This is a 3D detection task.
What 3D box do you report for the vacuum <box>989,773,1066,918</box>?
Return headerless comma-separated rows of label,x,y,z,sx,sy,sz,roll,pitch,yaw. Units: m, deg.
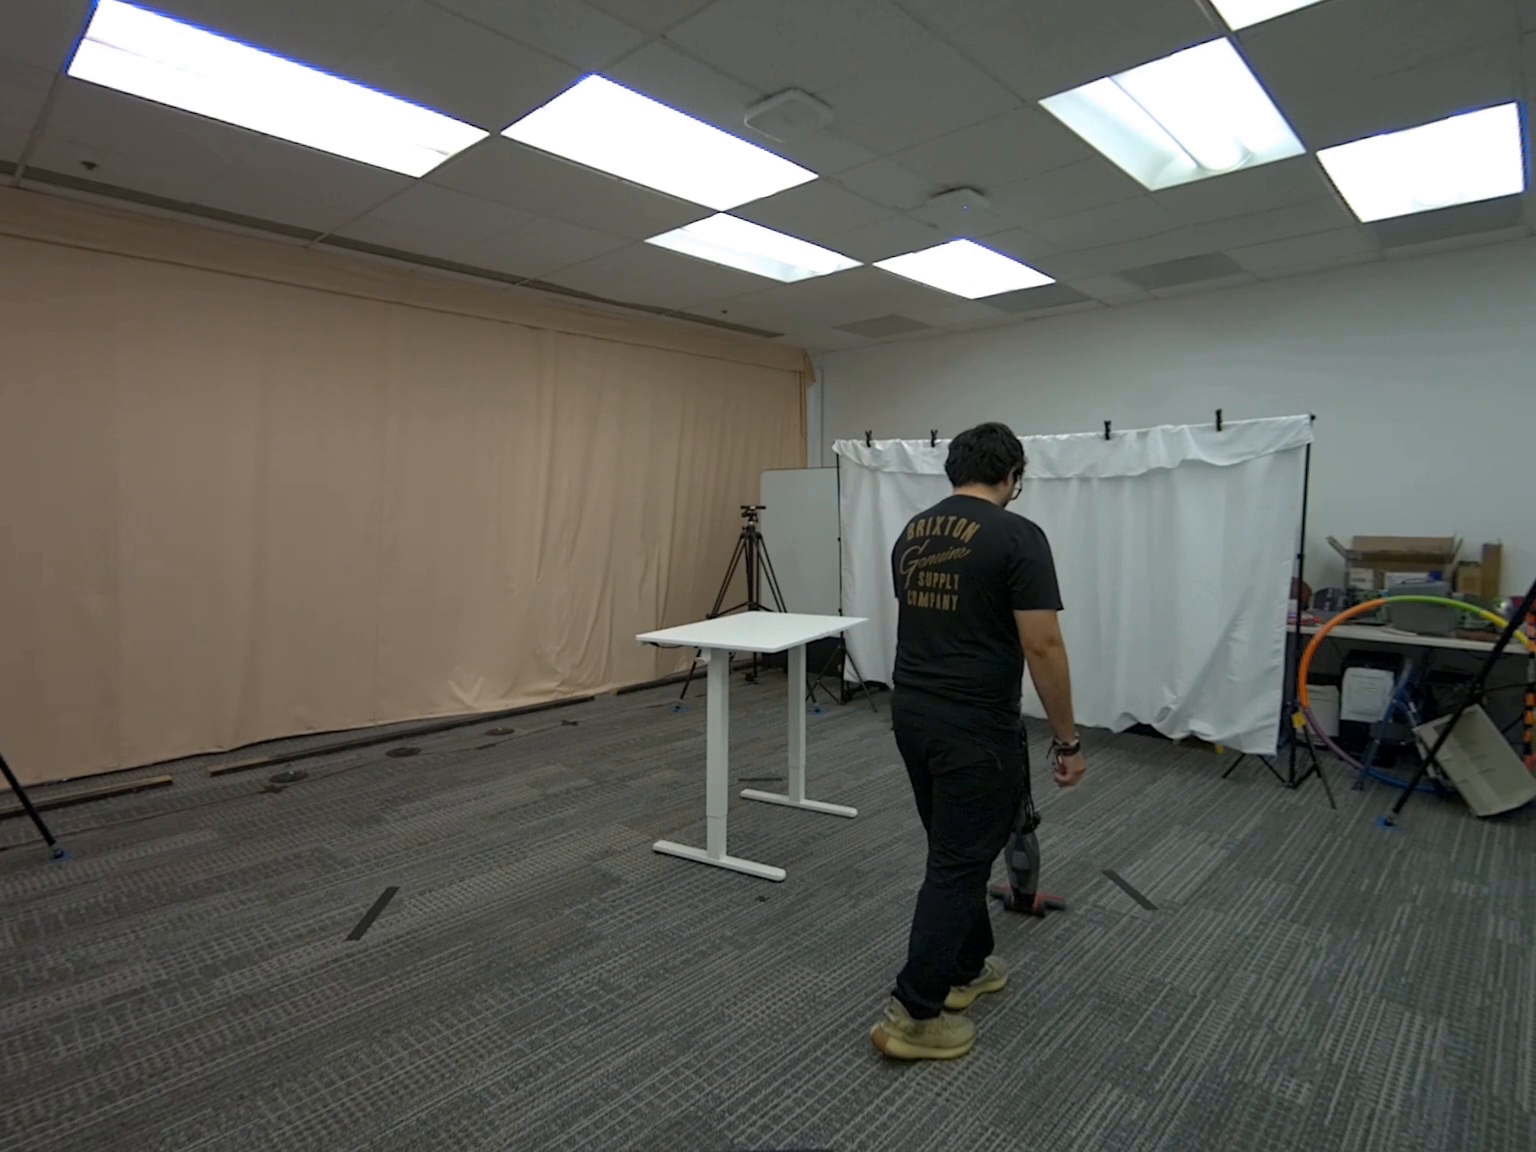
vacuum,0.799,0.730,2.648,0.259,1.024,0.144,5,39,24
